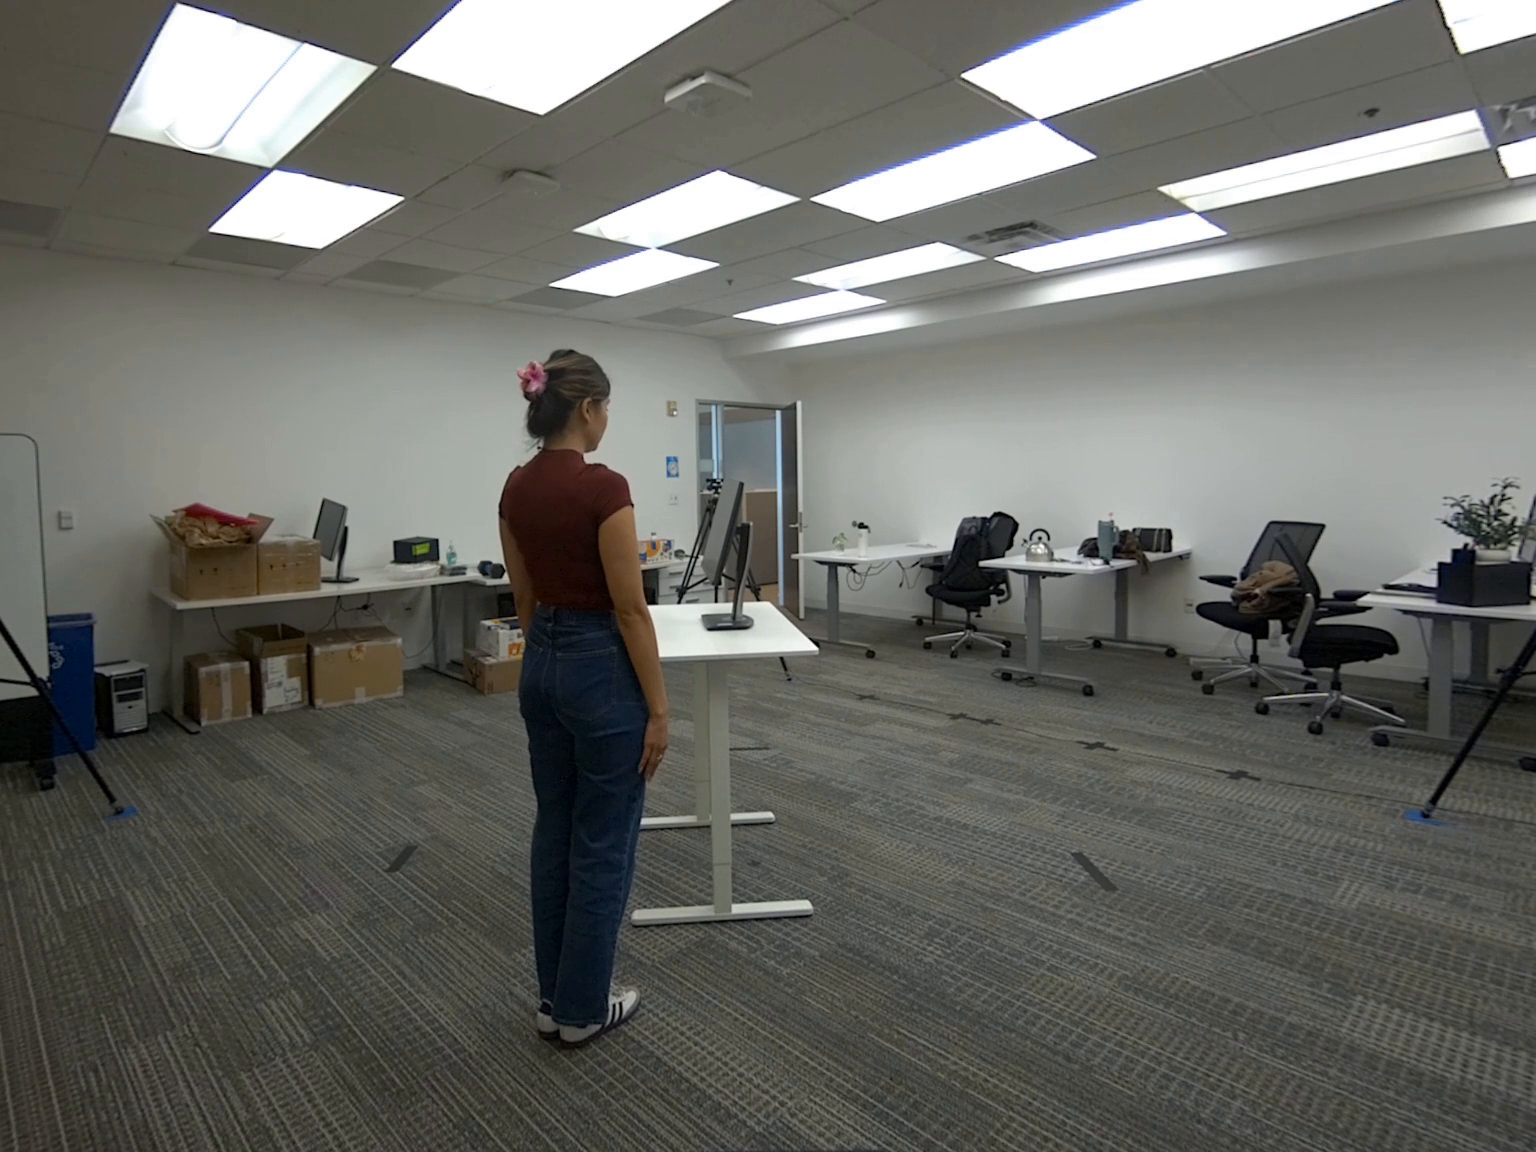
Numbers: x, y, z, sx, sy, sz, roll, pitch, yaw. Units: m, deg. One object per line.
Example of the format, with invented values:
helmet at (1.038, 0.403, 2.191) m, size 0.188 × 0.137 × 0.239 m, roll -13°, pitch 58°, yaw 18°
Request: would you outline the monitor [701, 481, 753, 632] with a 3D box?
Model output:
monitor at (-0.137, -0.083, 3.045) m, size 0.185 × 0.520 × 0.546 m, roll 1°, pitch 5°, yaw -10°
